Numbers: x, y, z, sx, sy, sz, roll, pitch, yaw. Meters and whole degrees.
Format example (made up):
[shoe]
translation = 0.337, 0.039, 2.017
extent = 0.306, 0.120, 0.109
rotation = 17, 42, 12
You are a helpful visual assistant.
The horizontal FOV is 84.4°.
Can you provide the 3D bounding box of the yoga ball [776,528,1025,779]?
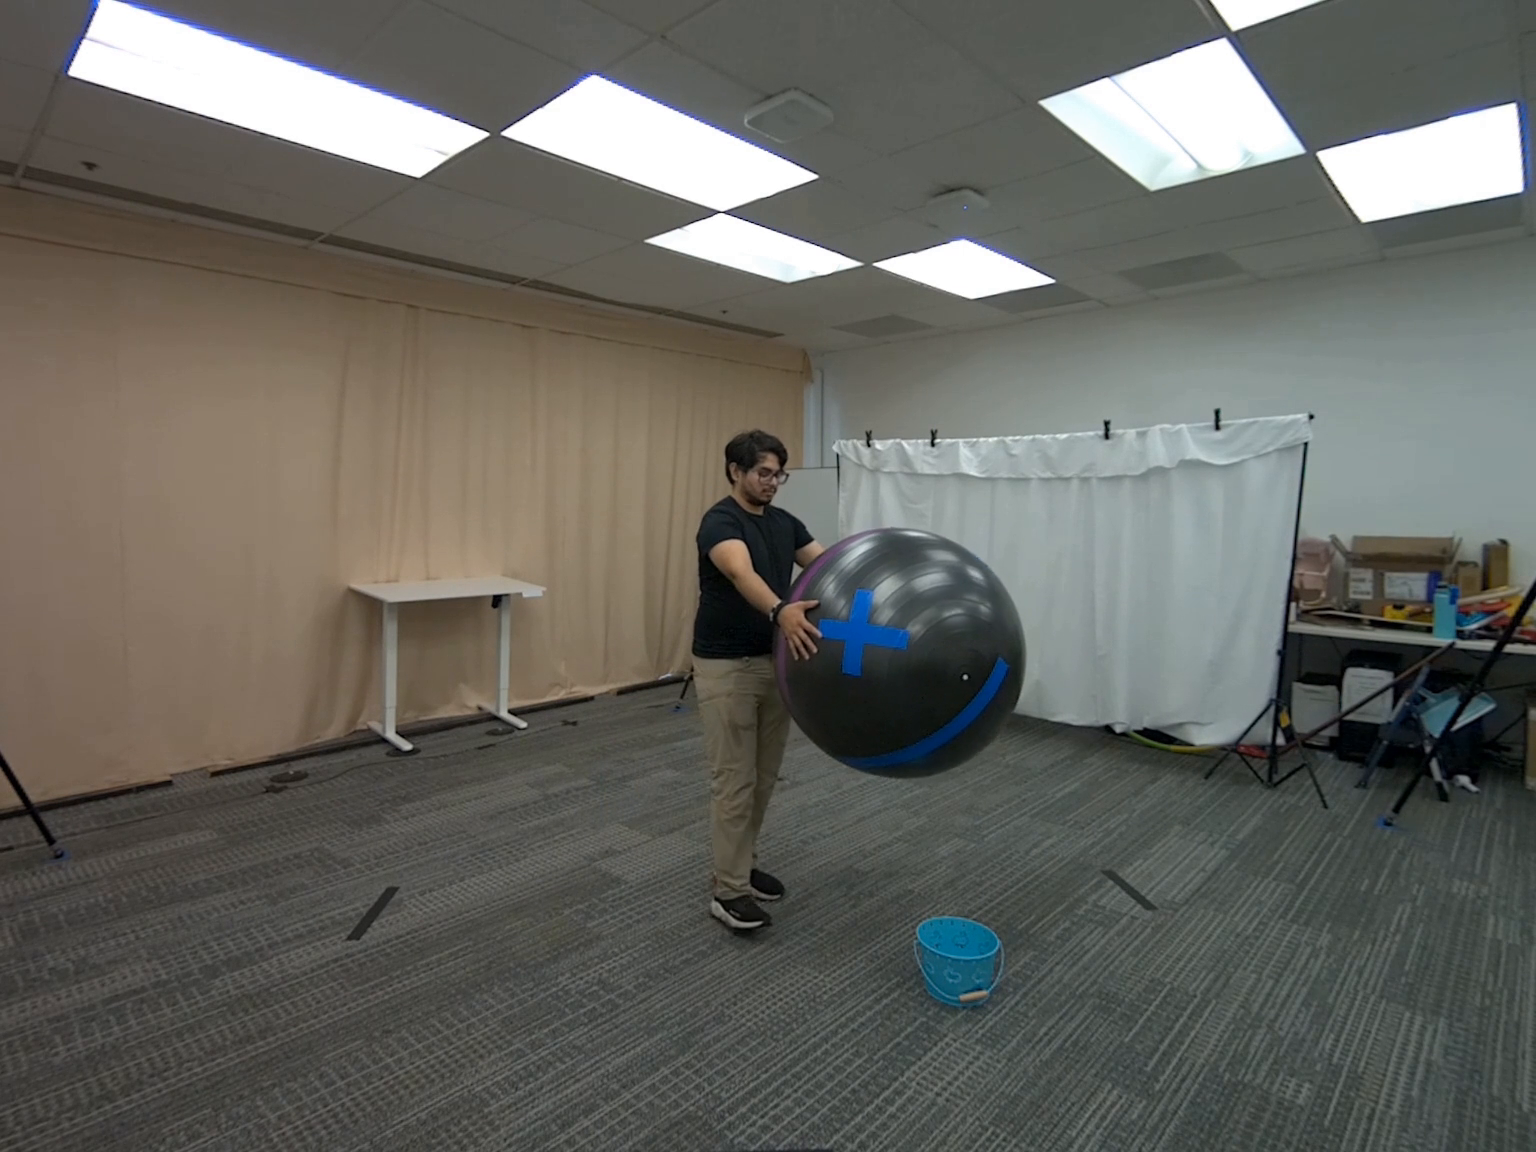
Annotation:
[yoga ball]
translation = 0.397, 0.243, 2.584
extent = 0.757, 0.756, 0.760
rotation = 0, 4, -2
